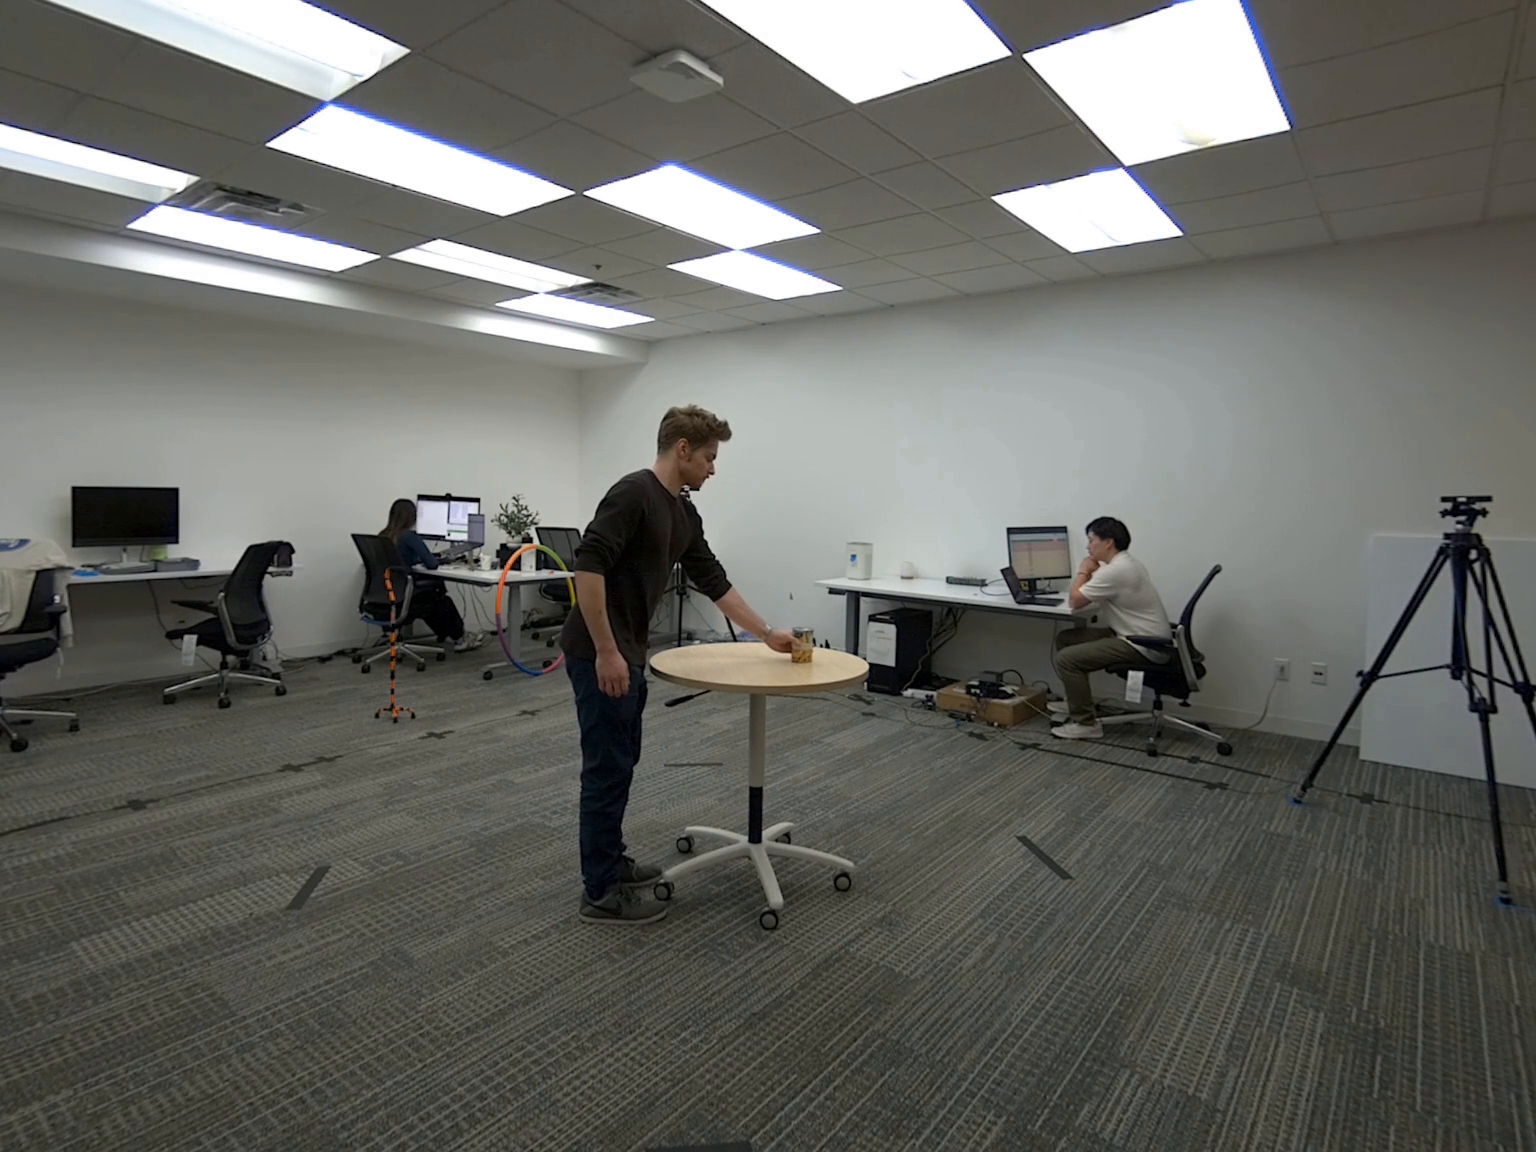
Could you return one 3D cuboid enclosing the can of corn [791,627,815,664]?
[{"bbox_3d":[0.112,0.244,3.003,0.074,0.111,0.074,1,3,-2],"label":"can of corn"}]
